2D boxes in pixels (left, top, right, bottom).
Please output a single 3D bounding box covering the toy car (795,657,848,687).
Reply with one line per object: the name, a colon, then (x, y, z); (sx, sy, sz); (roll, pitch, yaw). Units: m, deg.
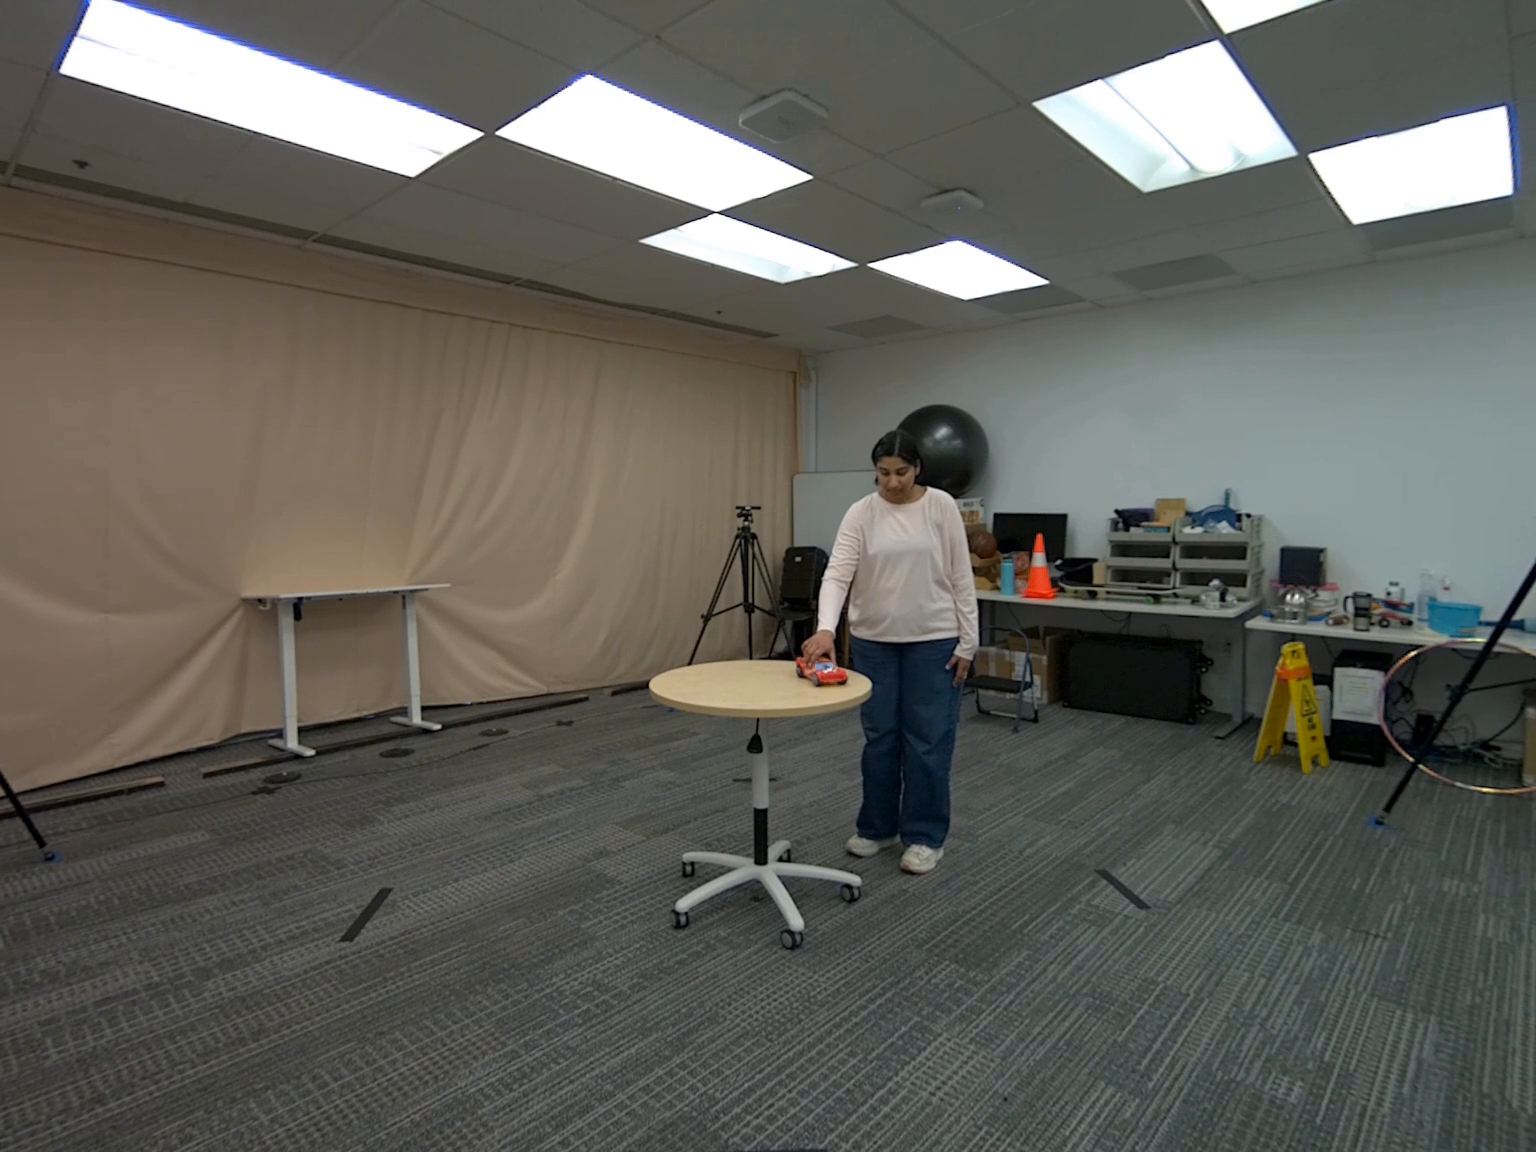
toy car: (0.180, 0.331, 2.942); (0.128, 0.082, 0.261); (-2, 16, -18)
